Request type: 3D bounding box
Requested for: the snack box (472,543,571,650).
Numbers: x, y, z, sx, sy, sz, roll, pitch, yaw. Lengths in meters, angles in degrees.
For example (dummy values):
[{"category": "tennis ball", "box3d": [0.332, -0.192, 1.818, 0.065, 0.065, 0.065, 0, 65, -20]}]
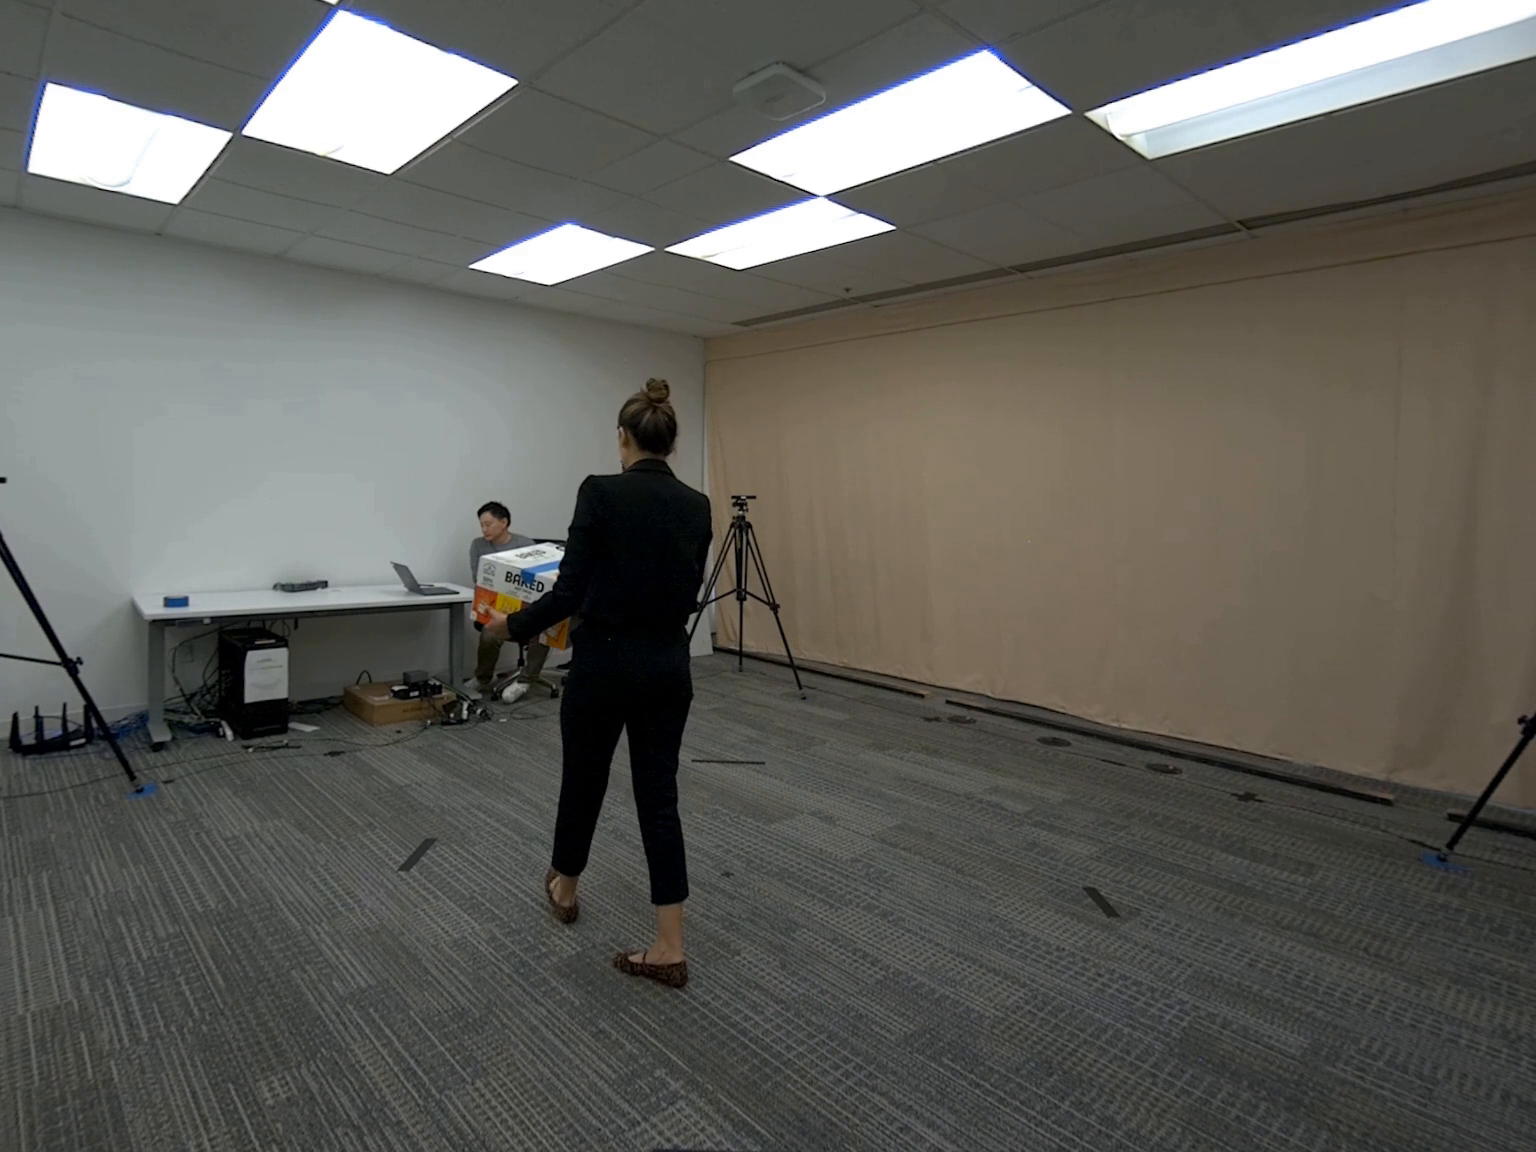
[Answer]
[{"category": "snack box", "box3d": [-0.687, 0.059, 2.719, 0.345, 0.204, 0.402, 16, 13, 14]}]
